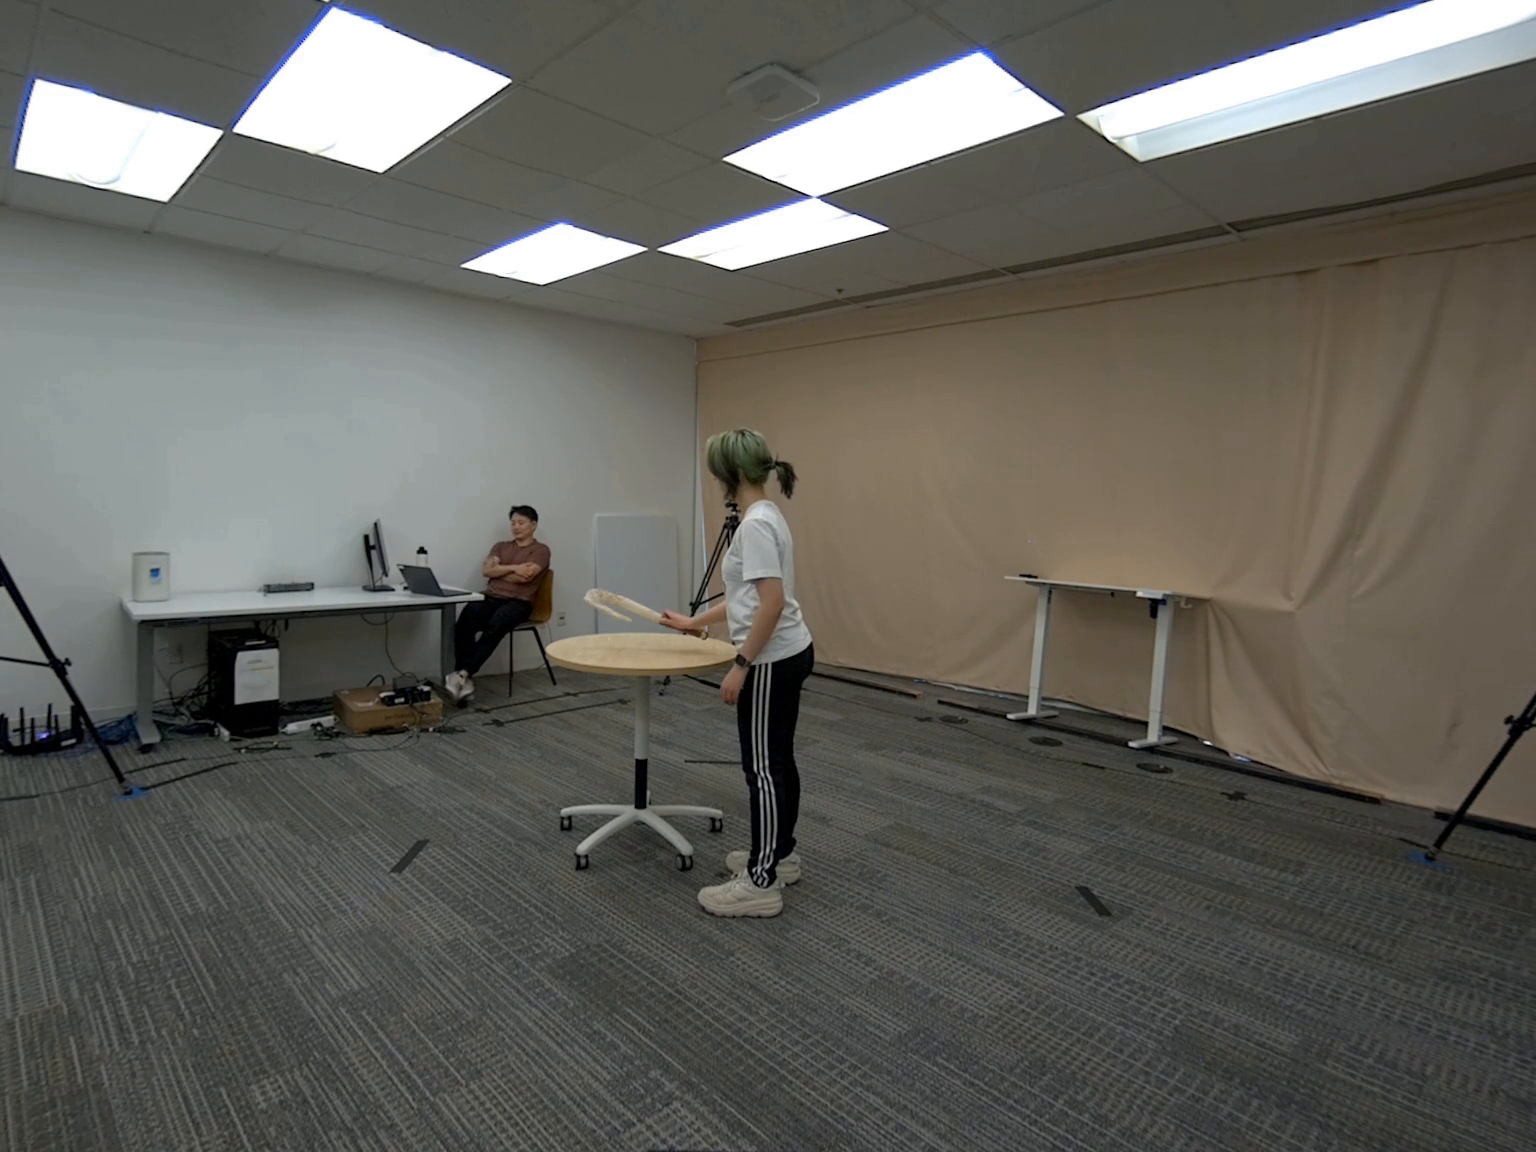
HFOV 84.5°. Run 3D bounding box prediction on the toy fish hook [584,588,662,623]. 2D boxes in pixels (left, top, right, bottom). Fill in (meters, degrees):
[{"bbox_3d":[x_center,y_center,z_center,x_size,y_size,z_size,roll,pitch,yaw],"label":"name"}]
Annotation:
[{"bbox_3d":[-0.461,0.168,3.245,0.502,0.048,0.228,20,17,-10],"label":"toy fish hook"}]
